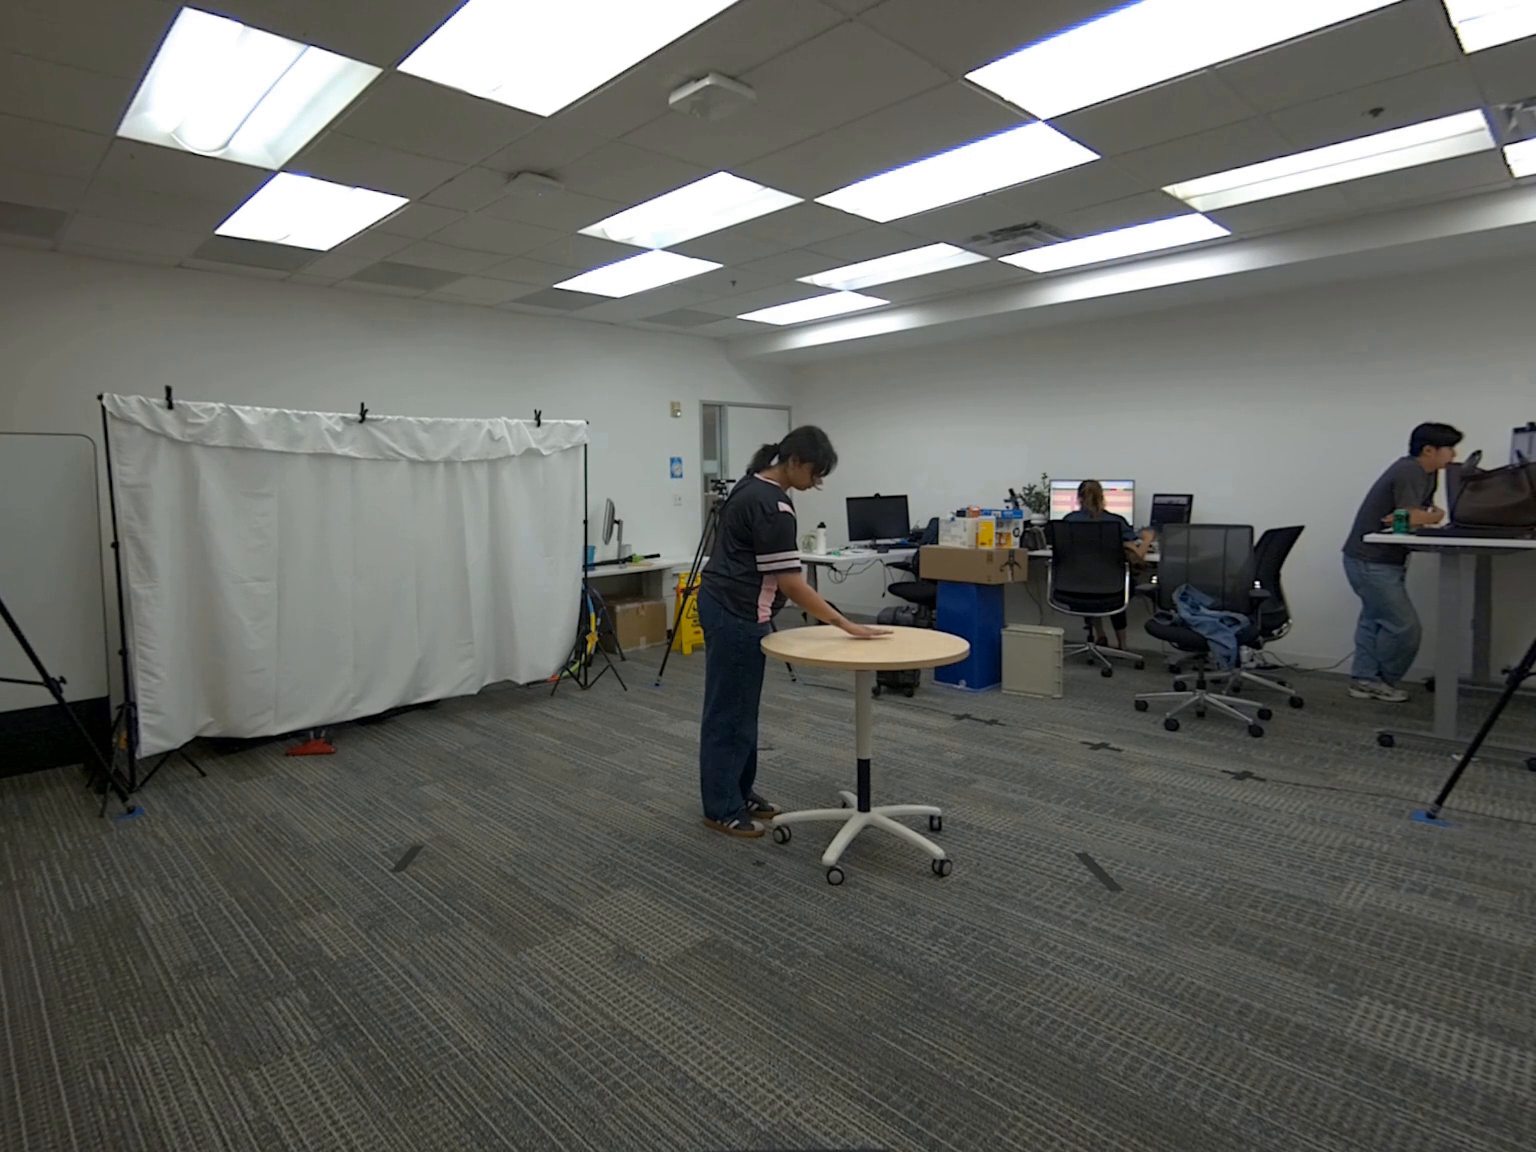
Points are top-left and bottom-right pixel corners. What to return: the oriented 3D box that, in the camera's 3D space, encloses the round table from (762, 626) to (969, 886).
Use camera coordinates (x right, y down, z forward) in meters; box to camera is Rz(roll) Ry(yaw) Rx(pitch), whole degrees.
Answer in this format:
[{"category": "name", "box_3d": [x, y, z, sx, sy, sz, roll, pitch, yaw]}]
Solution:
[{"category": "round table", "box_3d": [0.370, 0.634, 3.224, 0.784, 0.783, 0.789, -1, 5, -2]}]
